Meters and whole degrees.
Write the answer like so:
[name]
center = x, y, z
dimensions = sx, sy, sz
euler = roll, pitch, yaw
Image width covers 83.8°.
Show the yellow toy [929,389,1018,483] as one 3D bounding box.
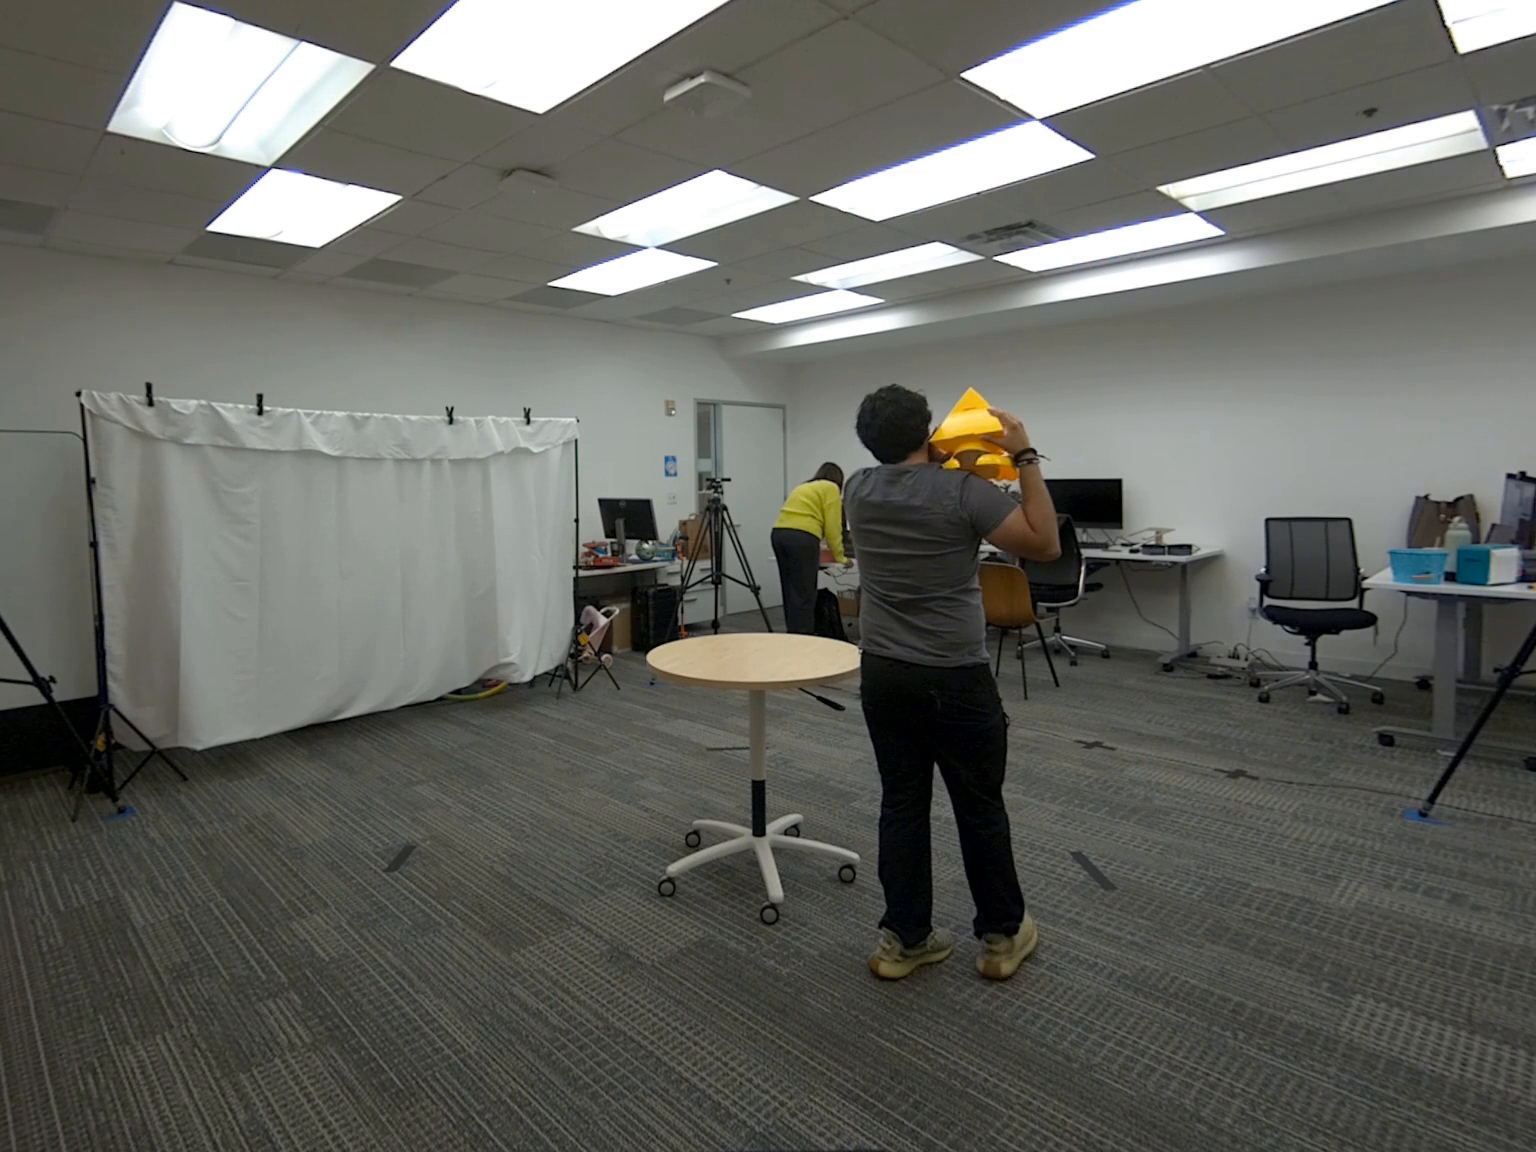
[yellow toy]
center = 0.579, -0.387, 2.341
dimensions = 0.210, 0.233, 0.186
euler = -6, -19, 36
